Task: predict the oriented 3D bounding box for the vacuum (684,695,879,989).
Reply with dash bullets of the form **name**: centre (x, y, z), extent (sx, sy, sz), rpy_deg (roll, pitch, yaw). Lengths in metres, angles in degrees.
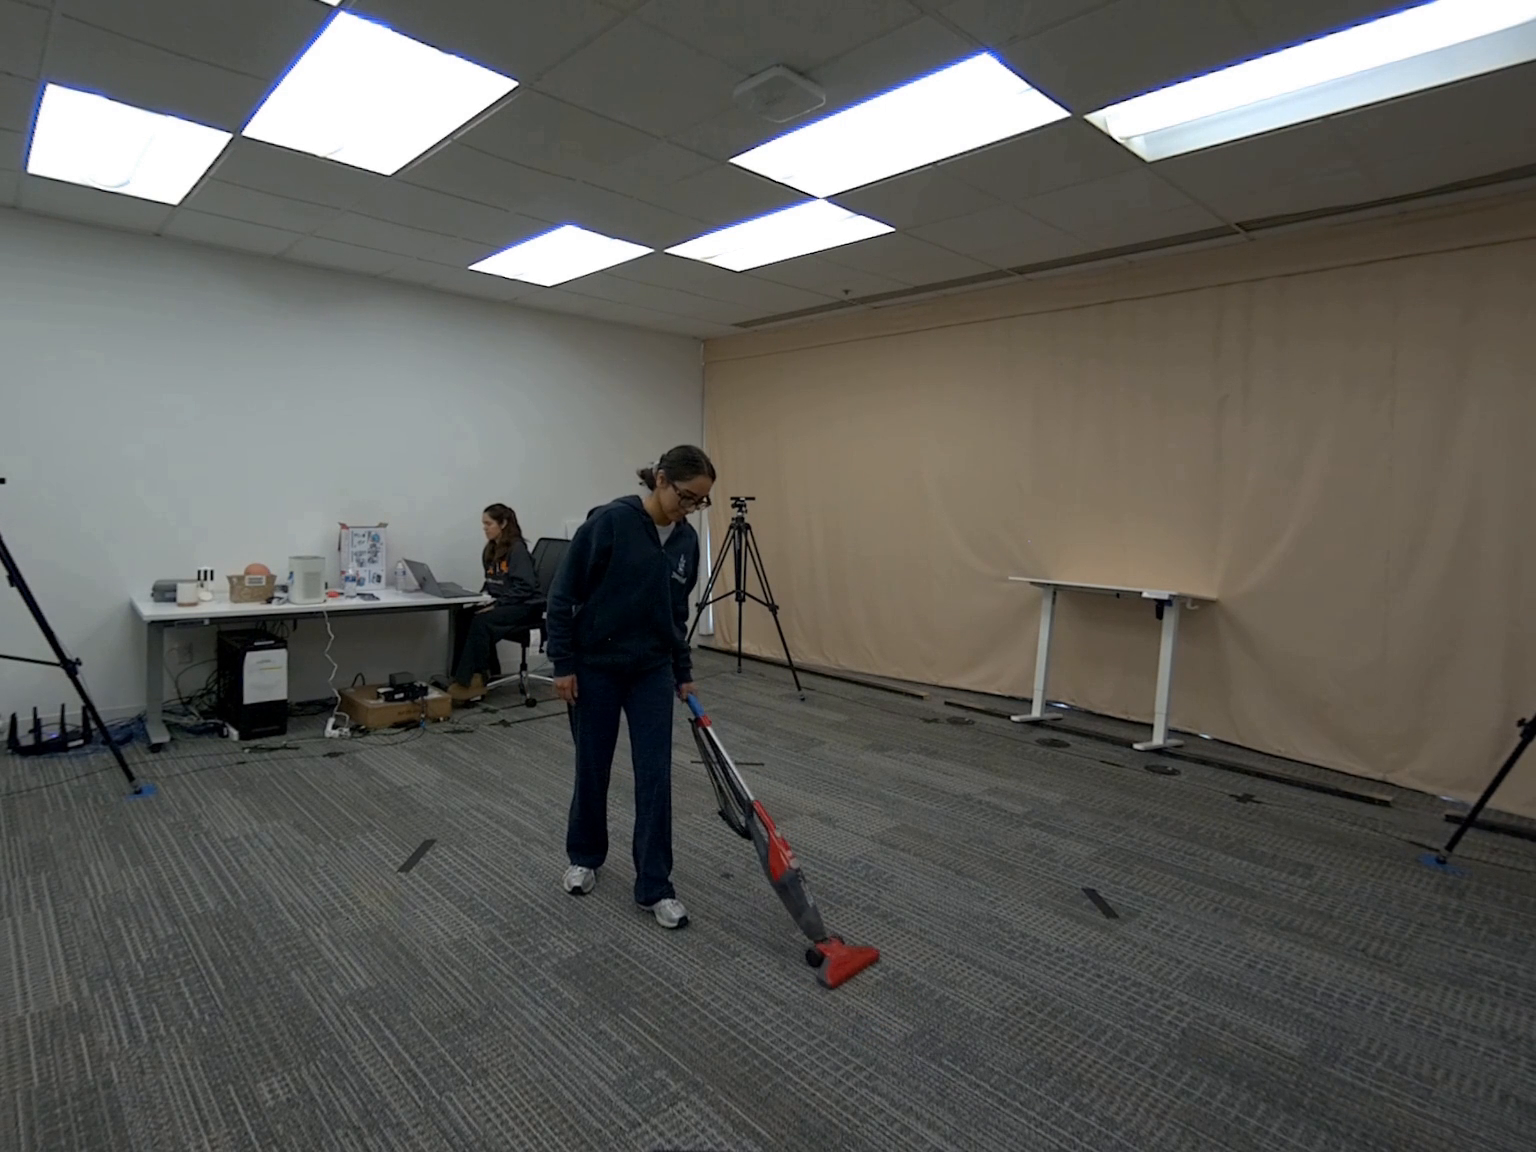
- **vacuum**: centre (-0.054, 0.774, 2.768), extent (0.246, 0.144, 1.077), rpy_deg (12, 37, -54)
